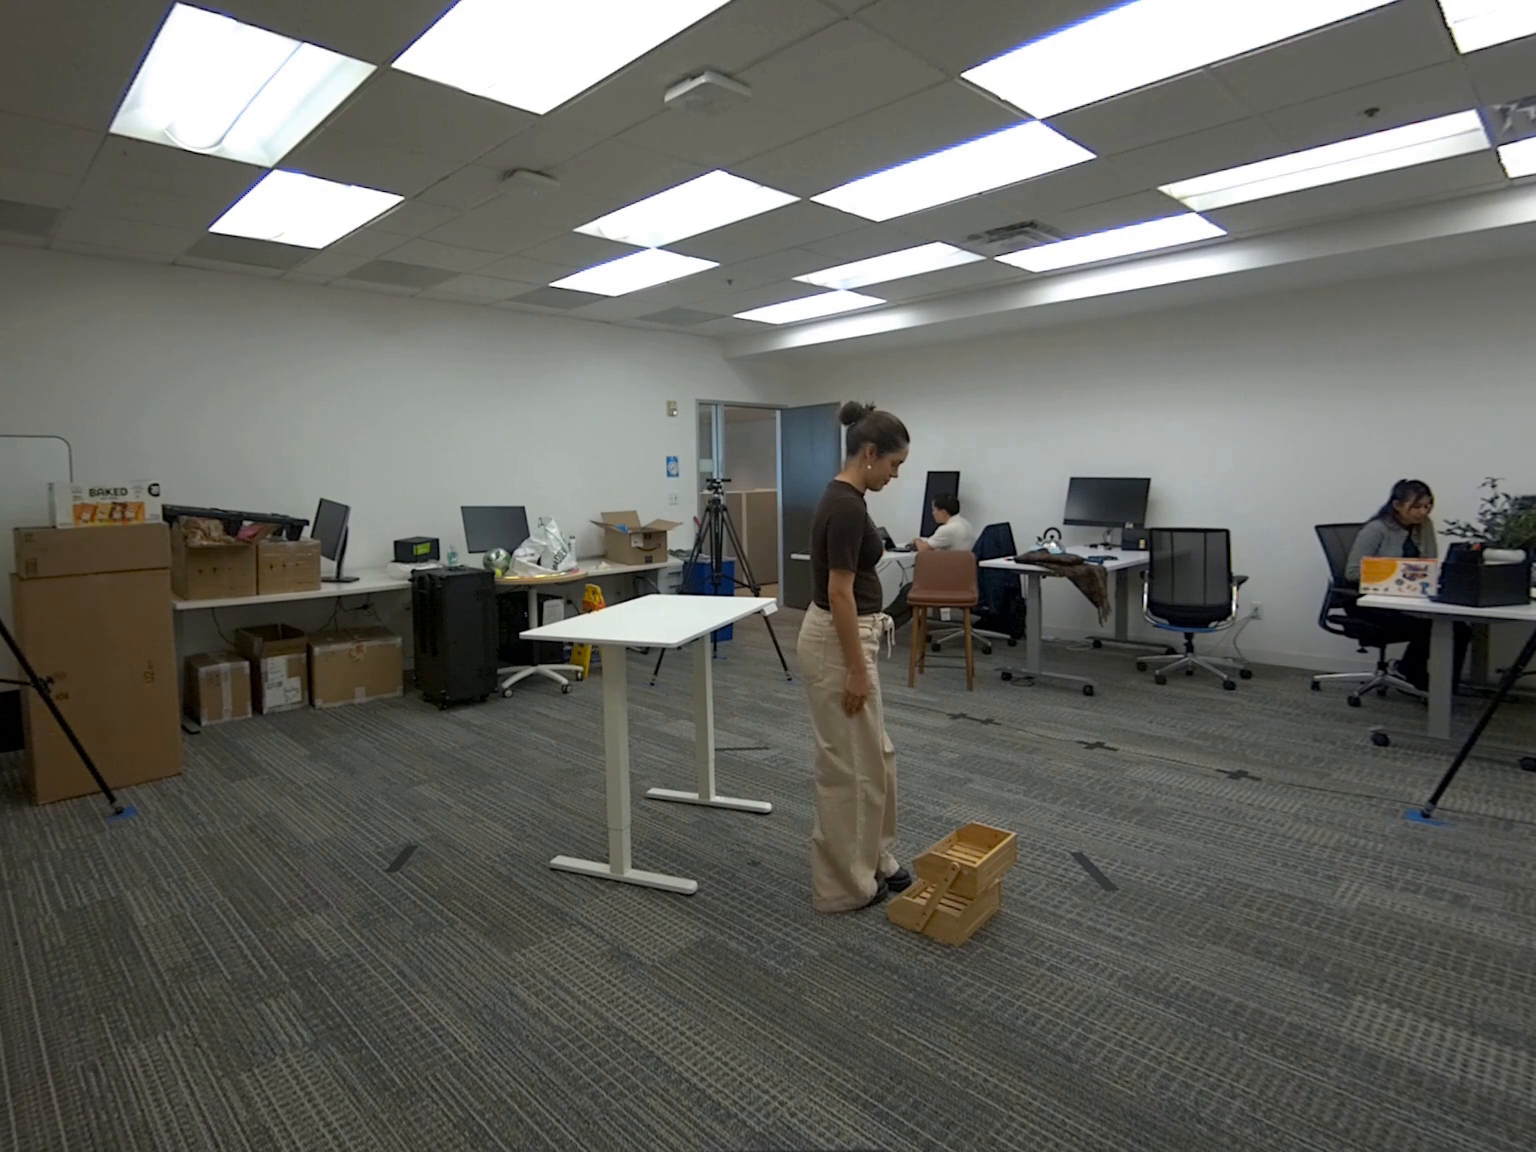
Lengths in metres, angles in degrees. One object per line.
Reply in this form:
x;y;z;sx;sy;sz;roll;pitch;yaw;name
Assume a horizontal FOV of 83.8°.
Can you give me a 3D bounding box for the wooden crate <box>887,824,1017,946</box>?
0.585;0.946;2.691;0.311;0.272;0.316;4;8;39;wooden crate
